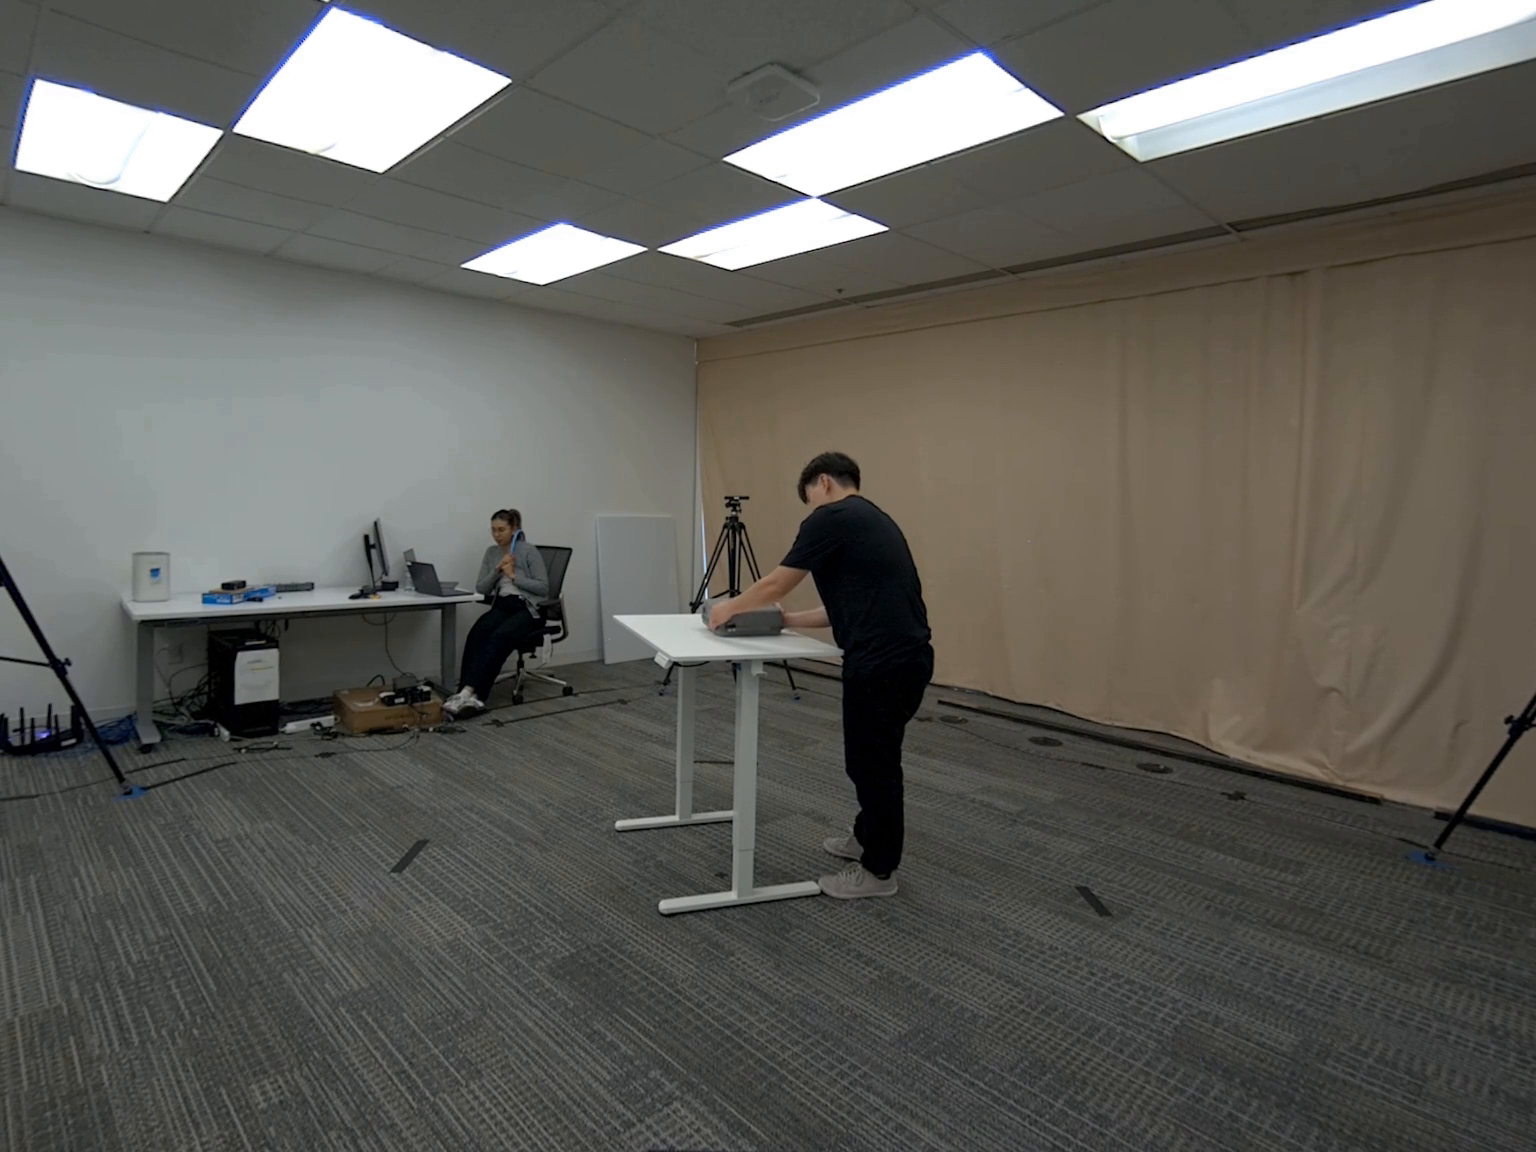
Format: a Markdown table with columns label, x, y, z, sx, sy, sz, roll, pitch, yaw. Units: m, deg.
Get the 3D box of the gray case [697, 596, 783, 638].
| label | x | y | z | sx | sy | sz | roll | pitch | yaw |
| --- | --- | --- | --- | --- | --- | --- | --- | --- | --- |
| gray case | -0.107 | 0.152 | 3.209 | 0.254 | 0.103 | 0.265 | -2 | 11 | -17 |
